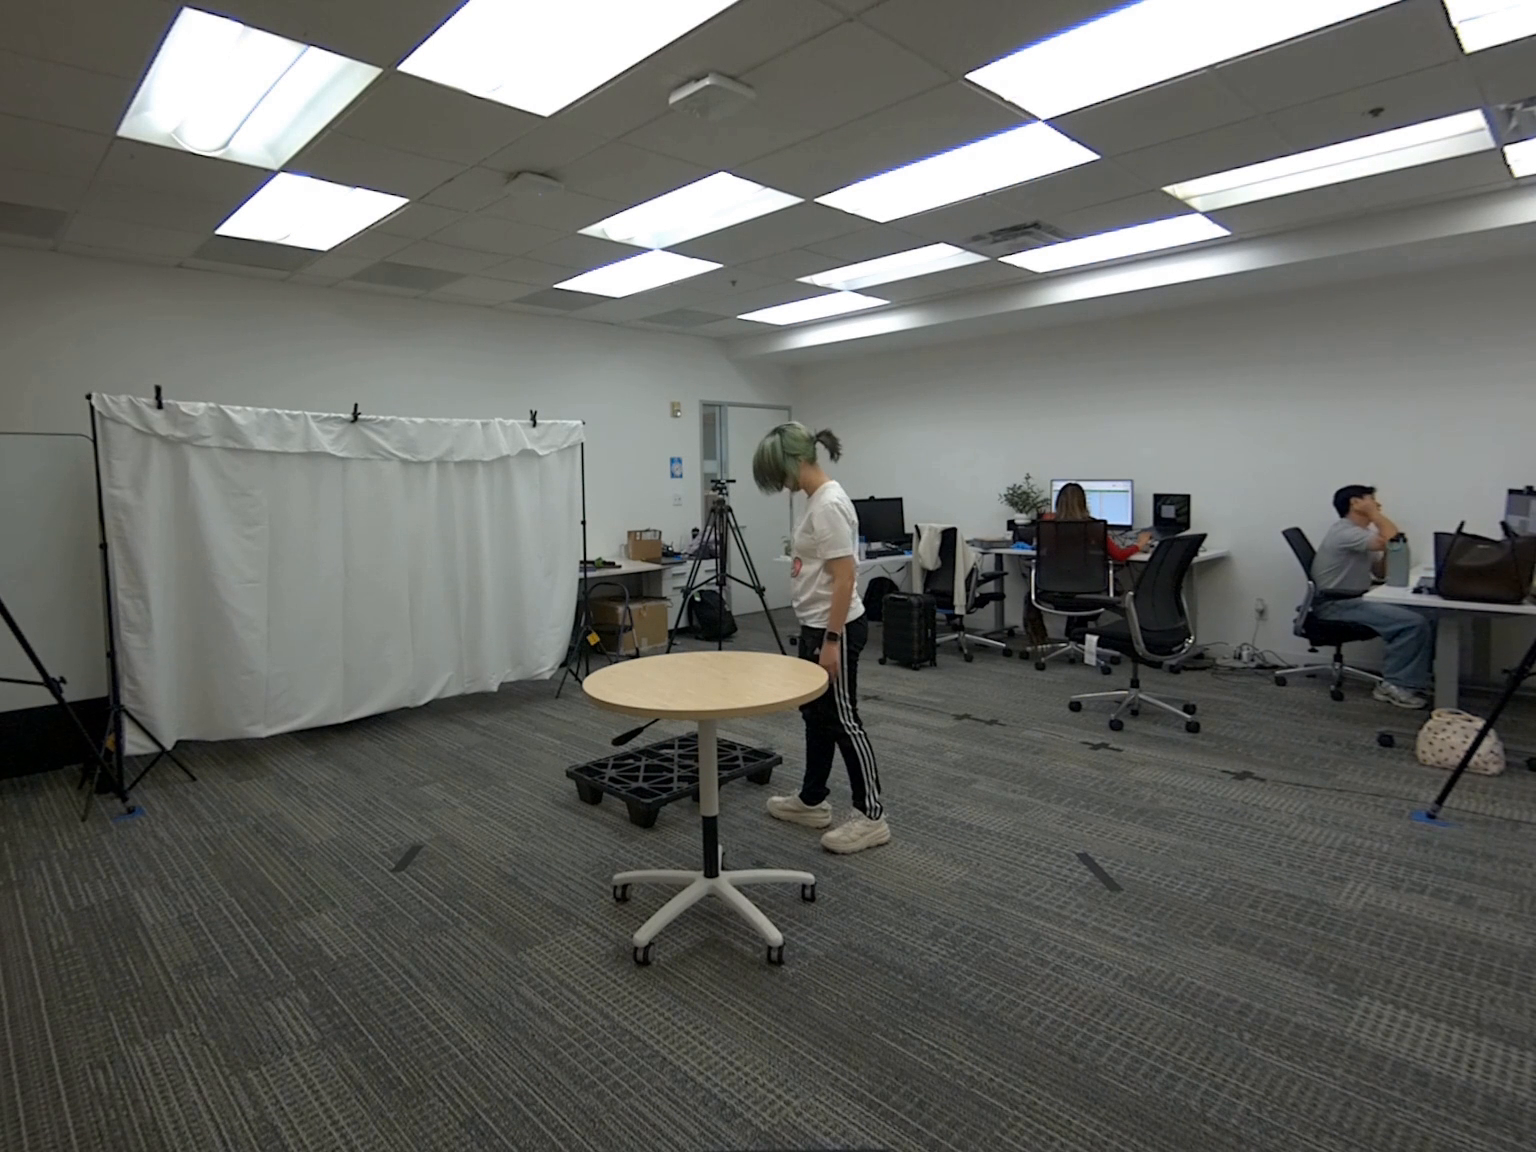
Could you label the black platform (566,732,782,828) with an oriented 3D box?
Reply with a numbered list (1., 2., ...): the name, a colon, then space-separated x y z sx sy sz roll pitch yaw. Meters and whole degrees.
1. black platform: -0.416 0.906 3.857 0.623 0.143 0.784 4 8 45
